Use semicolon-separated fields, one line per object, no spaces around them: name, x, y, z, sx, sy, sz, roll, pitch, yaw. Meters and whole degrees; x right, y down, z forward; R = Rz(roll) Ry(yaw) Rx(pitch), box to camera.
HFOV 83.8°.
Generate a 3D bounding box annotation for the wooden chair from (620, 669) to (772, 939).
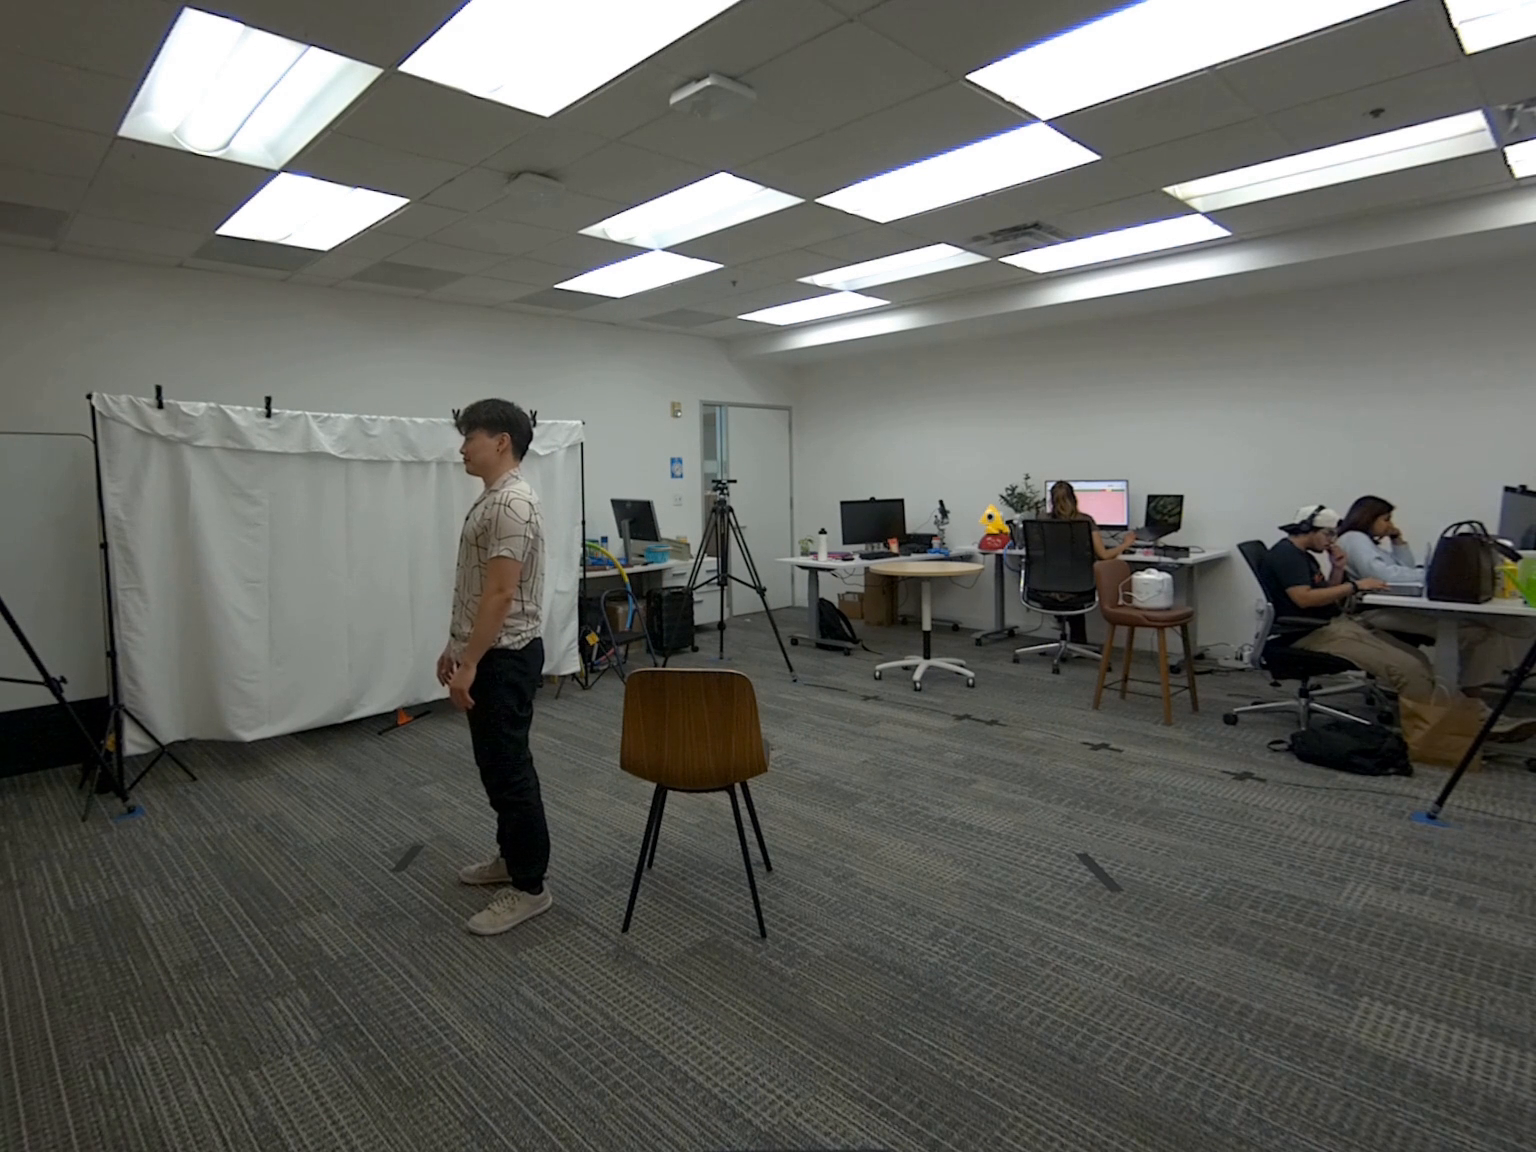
wooden chair;-0.229;0.654;2.828;0.481;0.870;0.525;-1;9;4
